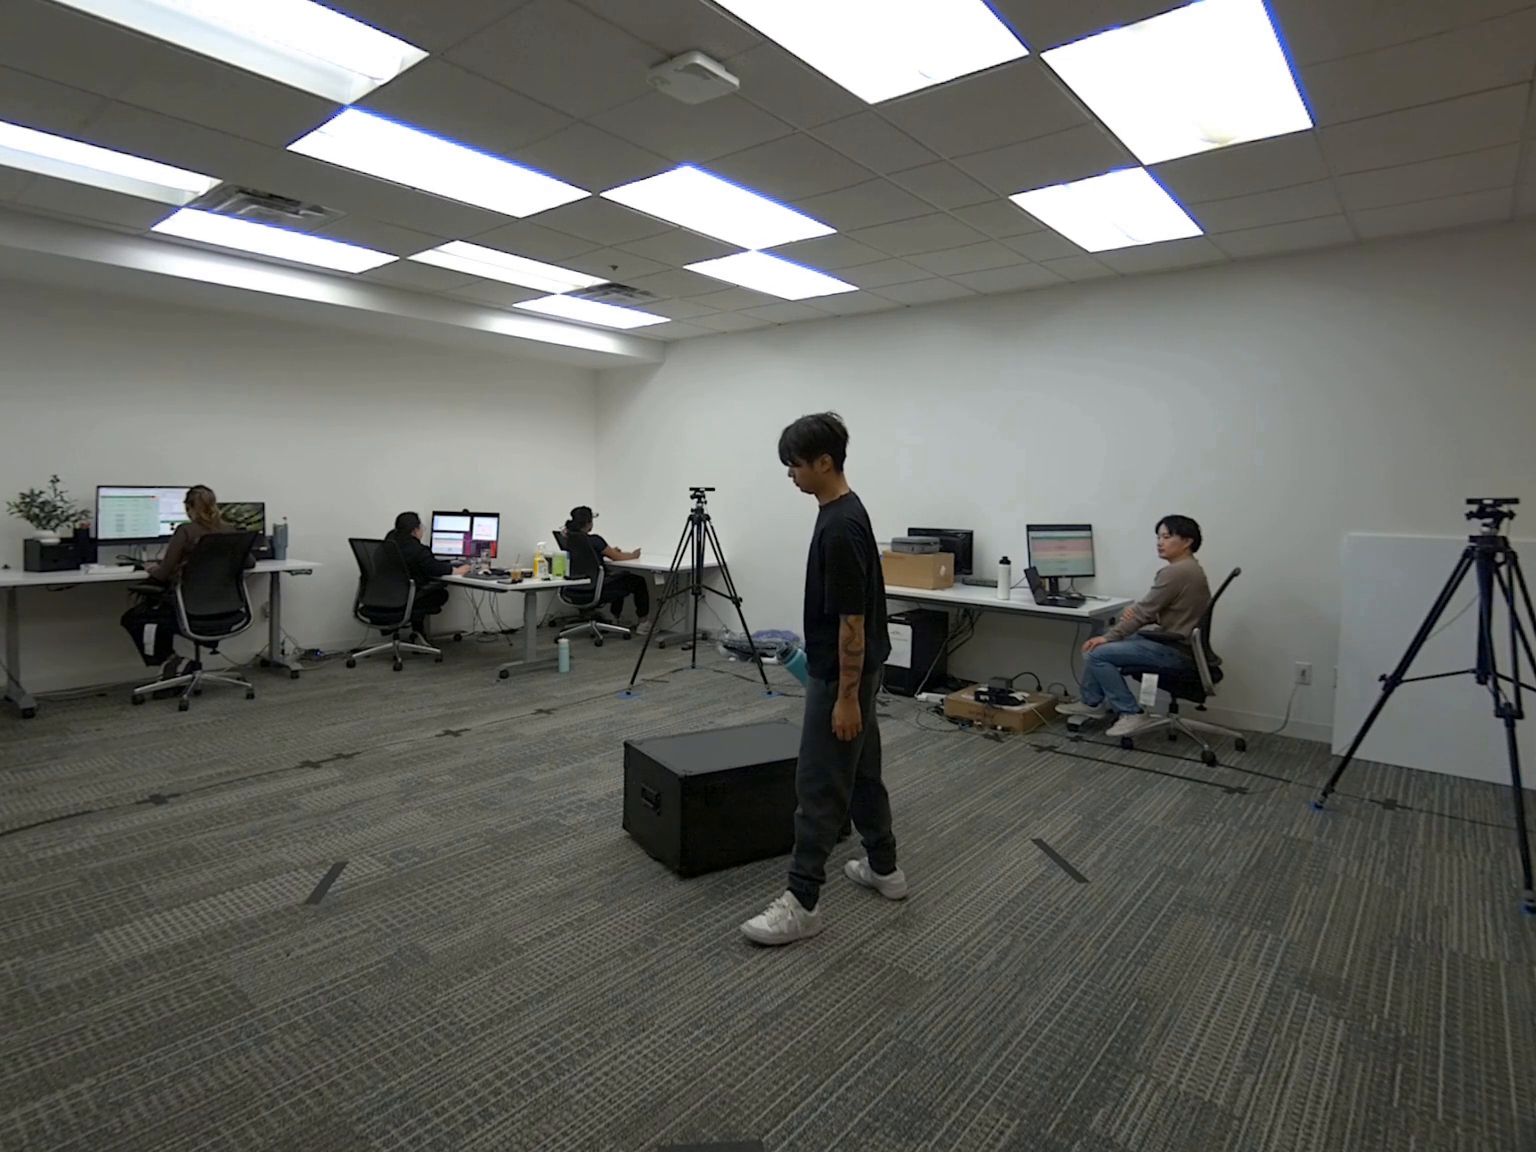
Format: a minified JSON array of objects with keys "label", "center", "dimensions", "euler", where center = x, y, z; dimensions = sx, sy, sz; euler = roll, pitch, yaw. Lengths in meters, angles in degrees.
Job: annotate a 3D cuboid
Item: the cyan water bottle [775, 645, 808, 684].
[{"label":"cyan water bottle","center":[0.138,0.349,3.105],"dimensions":[0.282,0.092,0.093],"euler":[42,1,-3]}]
